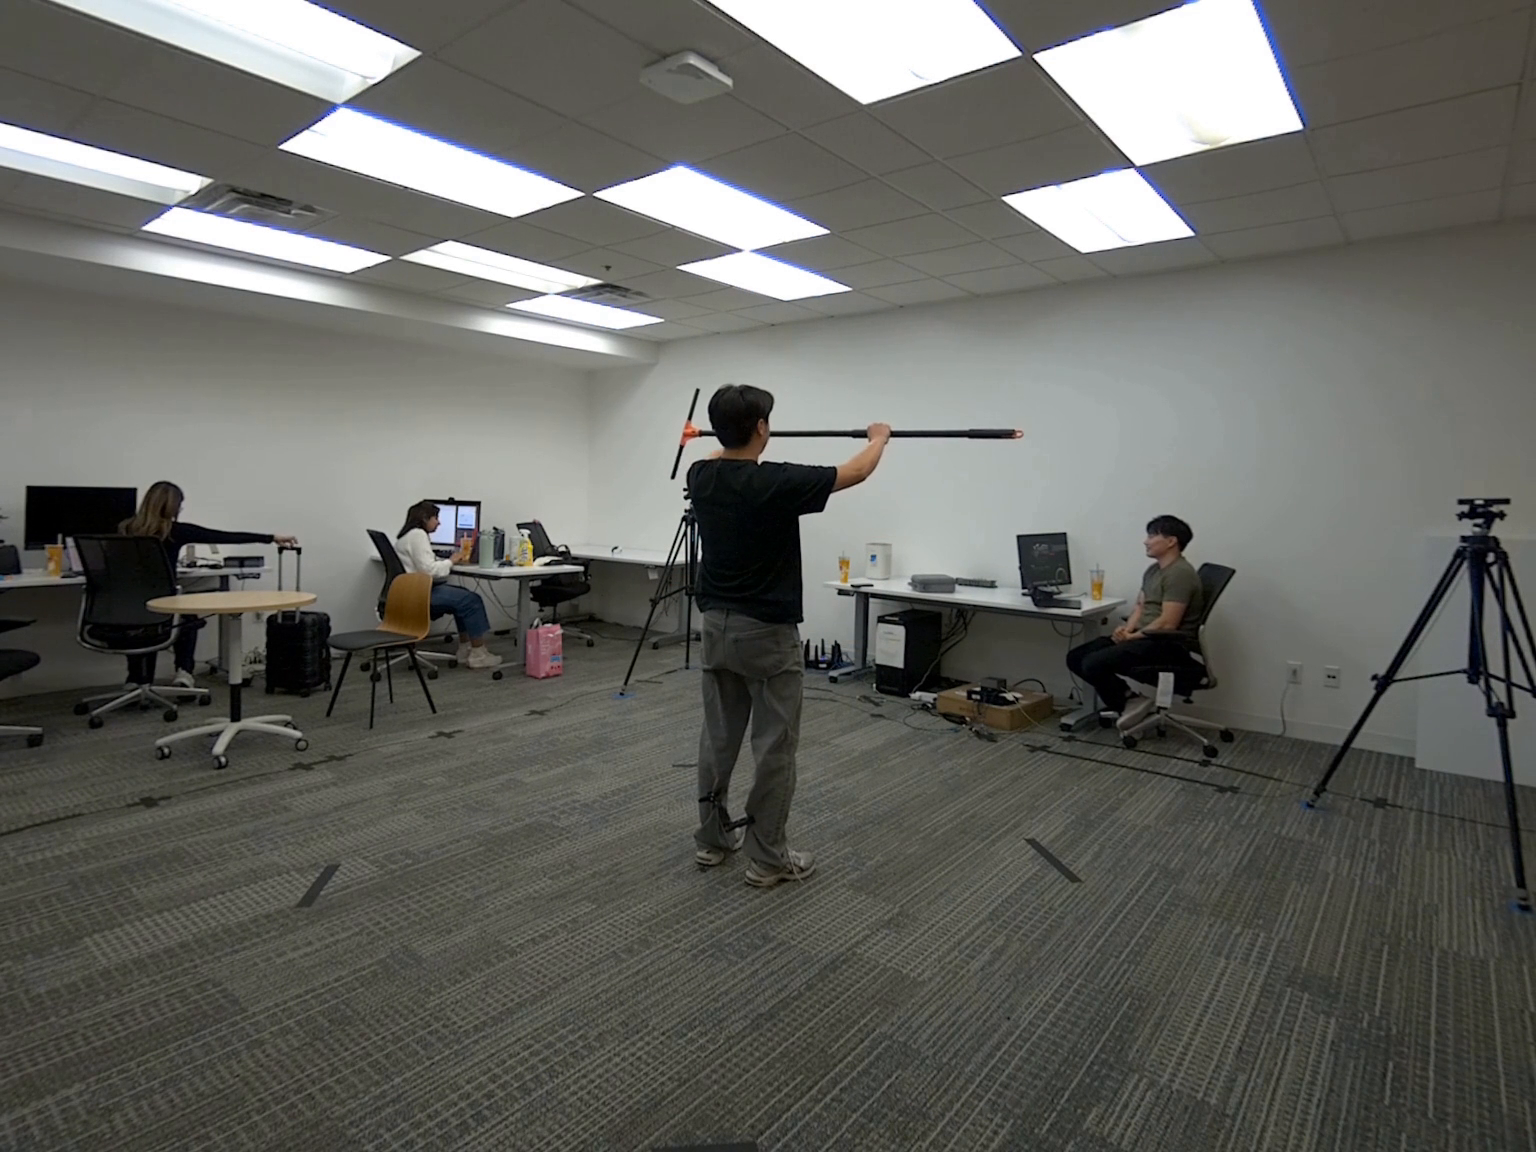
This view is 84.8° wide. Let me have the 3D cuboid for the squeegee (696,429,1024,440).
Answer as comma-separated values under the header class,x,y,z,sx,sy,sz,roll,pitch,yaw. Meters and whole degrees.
class,x,y,z,sx,sy,sz,roll,pitch,yaw
squeegee,0.235,-0.551,3.350,1.591,0.441,0.051,8,-14,37
